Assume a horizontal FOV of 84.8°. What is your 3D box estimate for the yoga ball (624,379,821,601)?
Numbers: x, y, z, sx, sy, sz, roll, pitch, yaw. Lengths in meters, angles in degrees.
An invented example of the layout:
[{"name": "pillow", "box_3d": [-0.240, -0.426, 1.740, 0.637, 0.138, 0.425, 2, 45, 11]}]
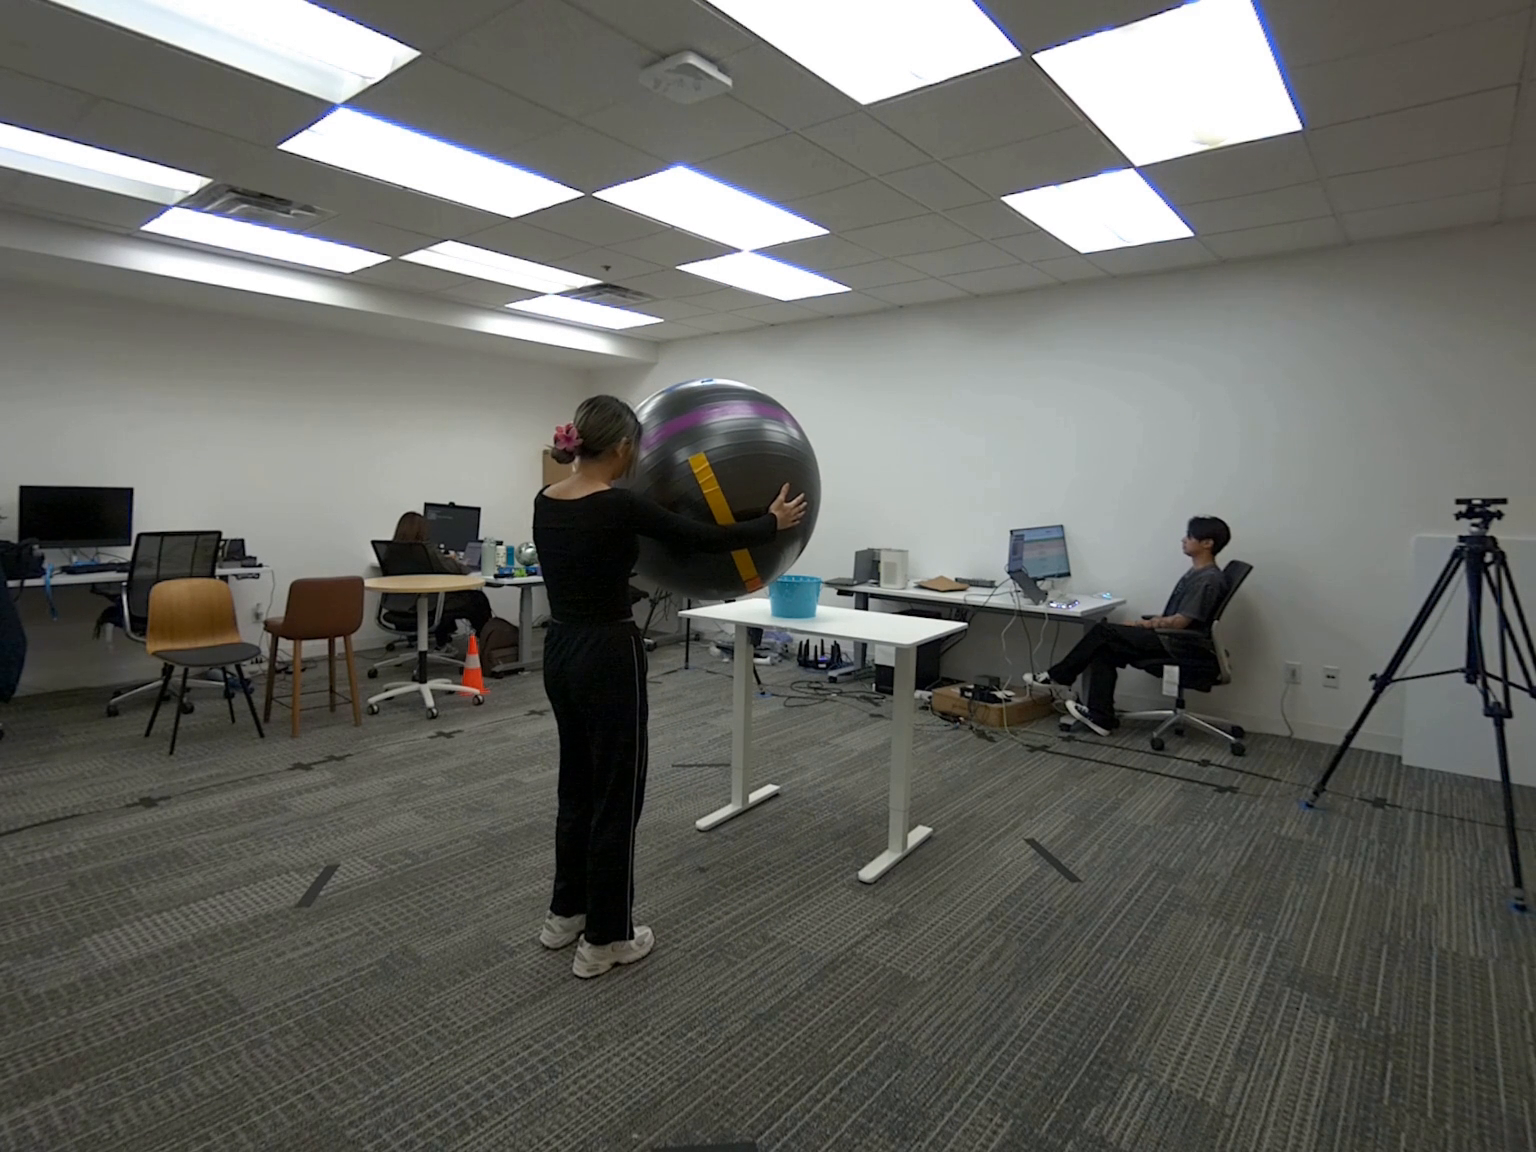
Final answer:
[{"name": "yoga ball", "box_3d": [-0.201, -0.289, 2.921, 0.757, 0.756, 0.761, 1, 4, -2]}]
